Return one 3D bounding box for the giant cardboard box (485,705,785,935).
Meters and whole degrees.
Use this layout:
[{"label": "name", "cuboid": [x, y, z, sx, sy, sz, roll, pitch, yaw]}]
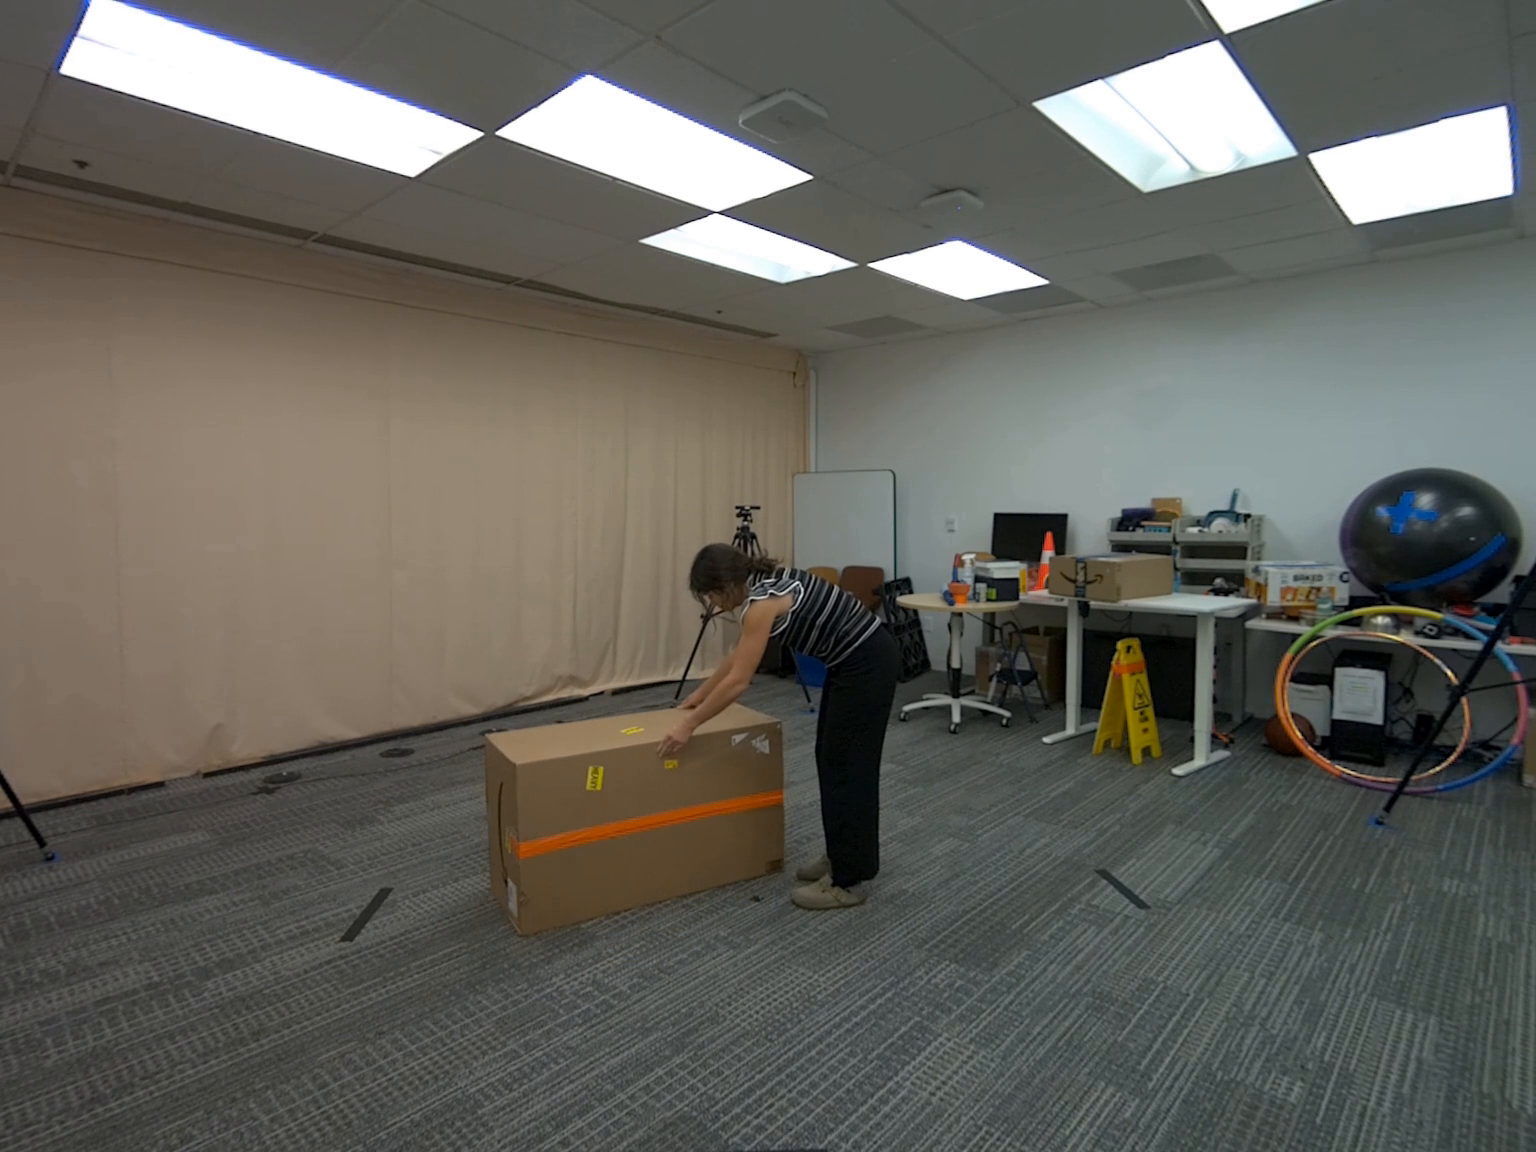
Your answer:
[{"label": "giant cardboard box", "cuboid": [-0.484, 0.845, 3.138, 0.999, 0.576, 0.438, -3, 4, -29]}]
